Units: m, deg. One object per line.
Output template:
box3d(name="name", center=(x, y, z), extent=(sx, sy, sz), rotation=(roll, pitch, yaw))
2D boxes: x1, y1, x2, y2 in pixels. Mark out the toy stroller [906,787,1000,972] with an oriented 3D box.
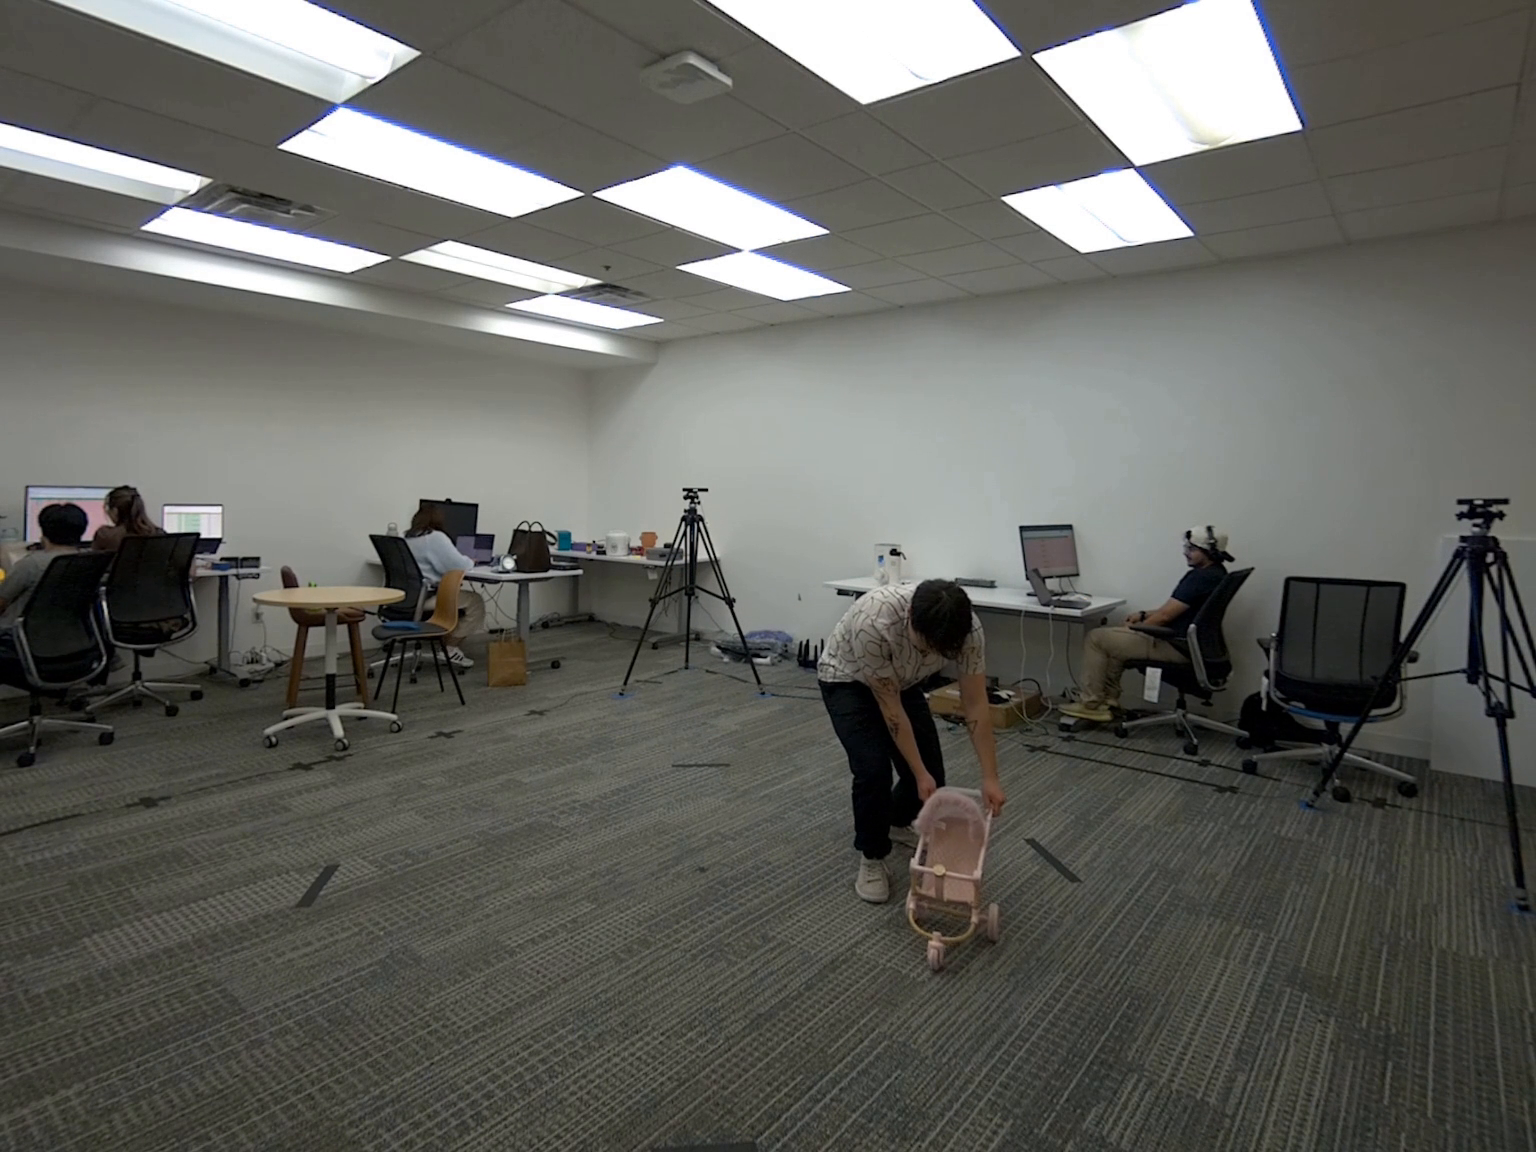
box3d(name="toy stroller", center=(0.565, 0.912, 2.668), extent=(0.289, 0.541, 0.328), rotation=(1, -16, 29))
